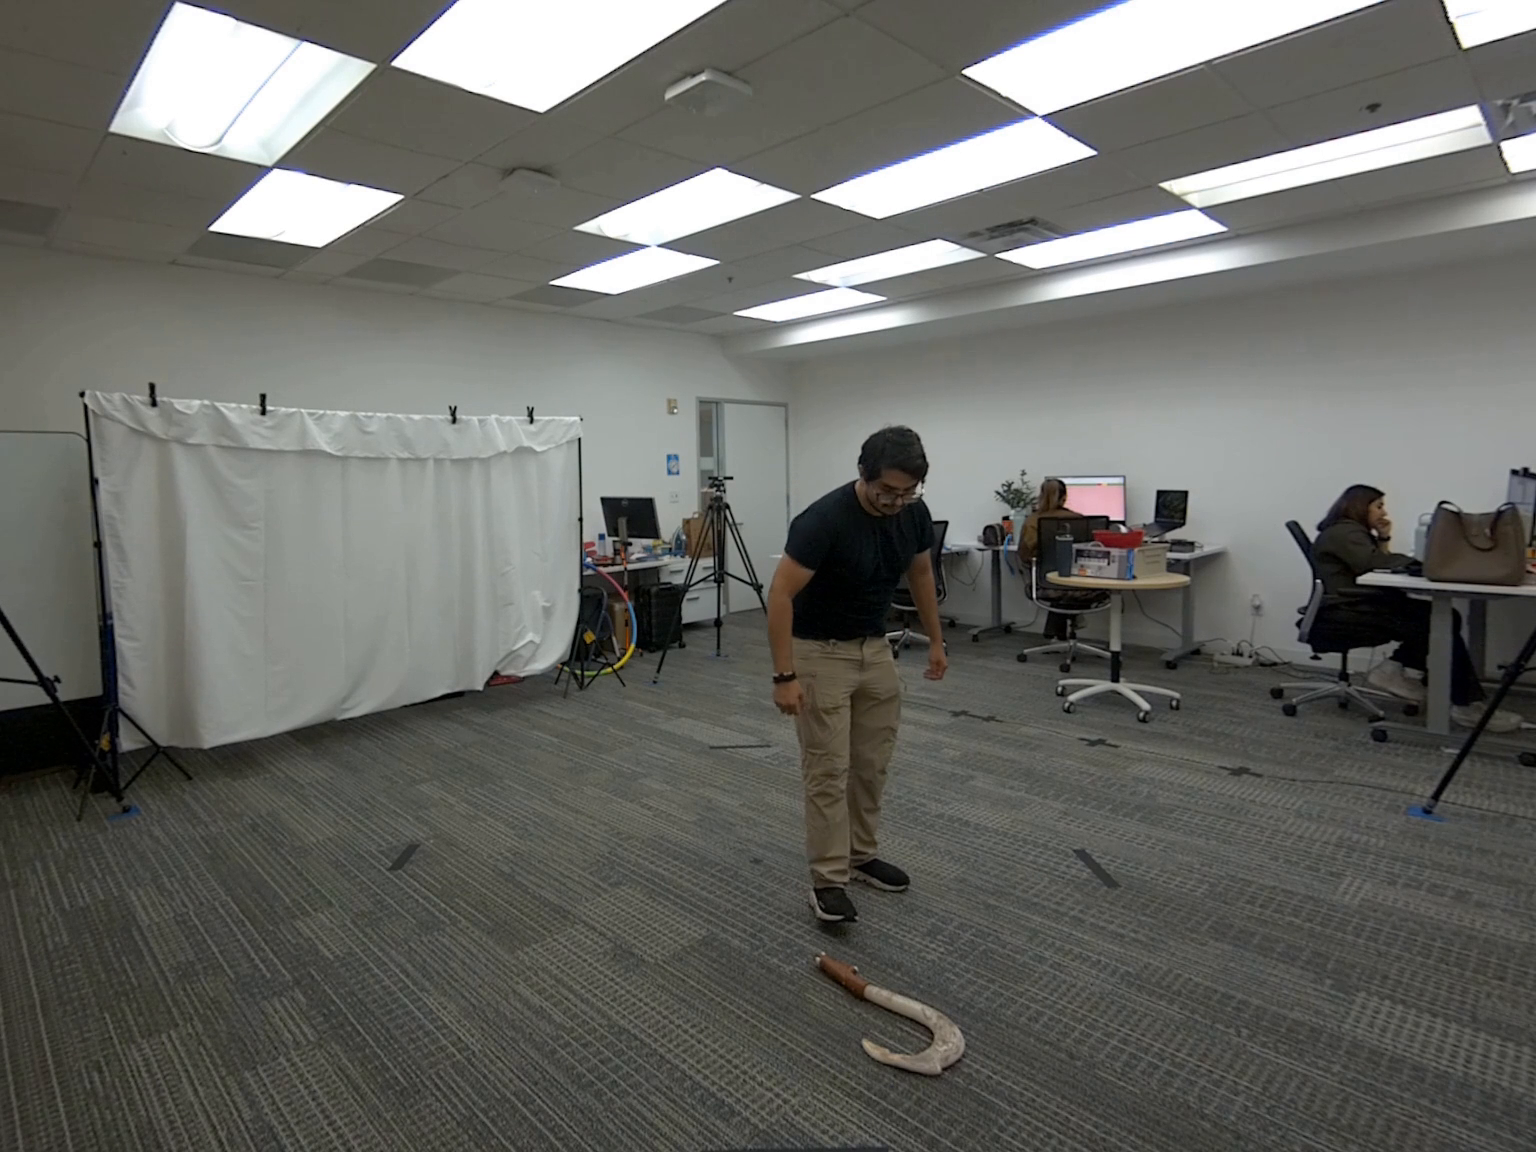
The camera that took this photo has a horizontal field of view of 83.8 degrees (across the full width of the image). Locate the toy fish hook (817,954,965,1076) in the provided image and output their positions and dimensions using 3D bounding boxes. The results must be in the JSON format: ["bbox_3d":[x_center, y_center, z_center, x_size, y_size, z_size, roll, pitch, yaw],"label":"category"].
[{"bbox_3d":[0.269,1.124,2.199,0.219,0.048,0.522,-6,8,-38],"label":"toy fish hook"}]
